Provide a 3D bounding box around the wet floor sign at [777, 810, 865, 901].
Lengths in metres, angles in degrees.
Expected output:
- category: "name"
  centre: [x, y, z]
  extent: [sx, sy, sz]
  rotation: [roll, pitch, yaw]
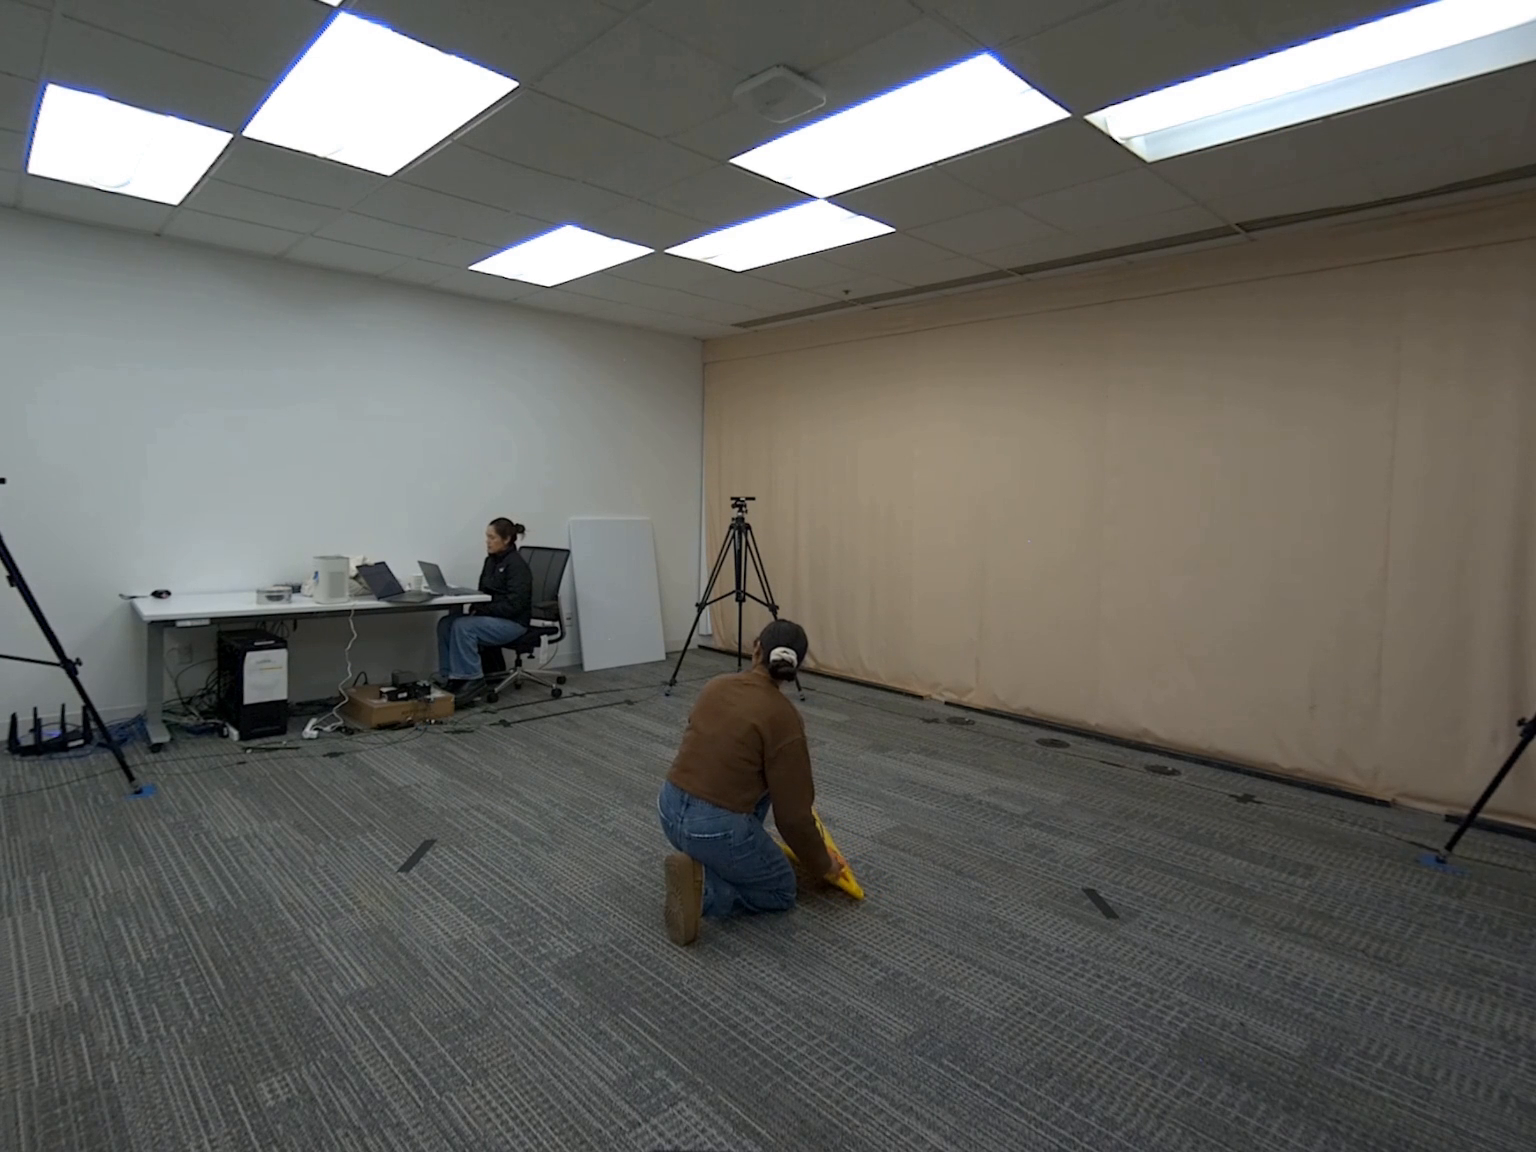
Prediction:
- category: "wet floor sign"
  centre: [0.109, 0.982, 3.151]
  extent: [0.274, 0.290, 0.664]
  rotation: [43, -7, -32]
